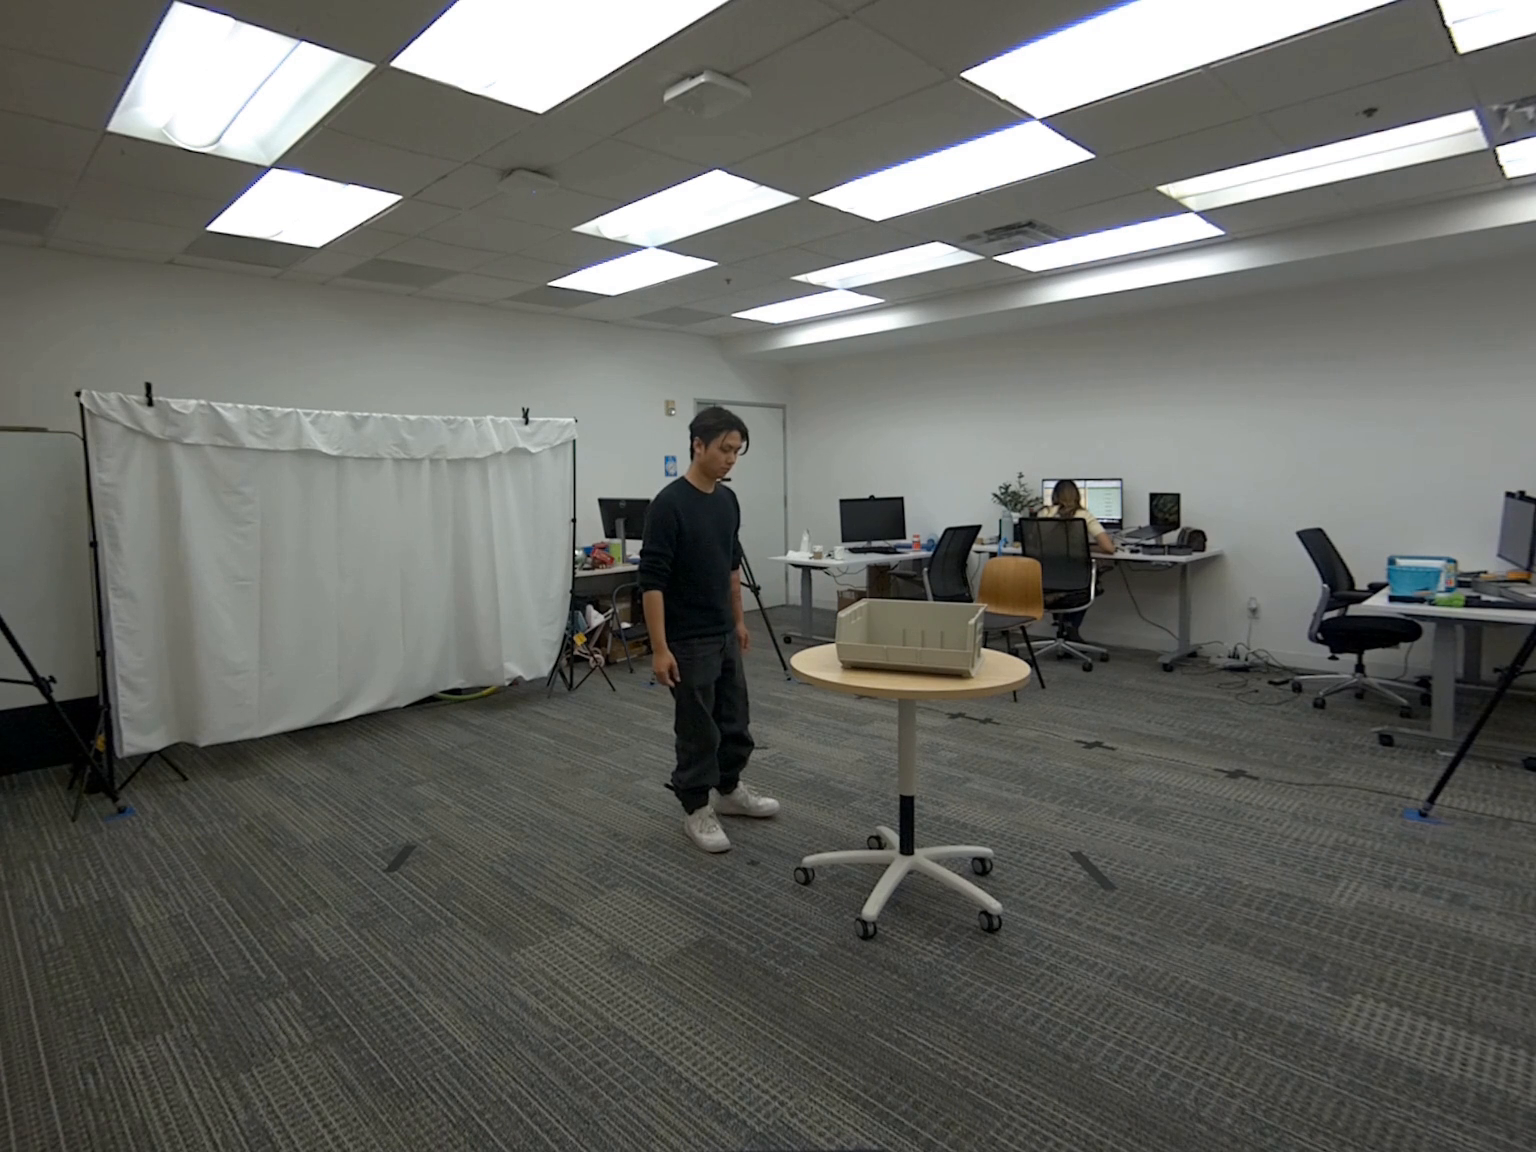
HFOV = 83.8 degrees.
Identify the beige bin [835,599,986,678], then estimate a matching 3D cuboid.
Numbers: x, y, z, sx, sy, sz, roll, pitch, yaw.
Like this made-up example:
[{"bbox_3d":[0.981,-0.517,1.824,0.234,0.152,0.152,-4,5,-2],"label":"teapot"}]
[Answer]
[{"bbox_3d":[0.478,0.202,2.771,0.431,0.188,0.371,1,5,22],"label":"beige bin"}]
